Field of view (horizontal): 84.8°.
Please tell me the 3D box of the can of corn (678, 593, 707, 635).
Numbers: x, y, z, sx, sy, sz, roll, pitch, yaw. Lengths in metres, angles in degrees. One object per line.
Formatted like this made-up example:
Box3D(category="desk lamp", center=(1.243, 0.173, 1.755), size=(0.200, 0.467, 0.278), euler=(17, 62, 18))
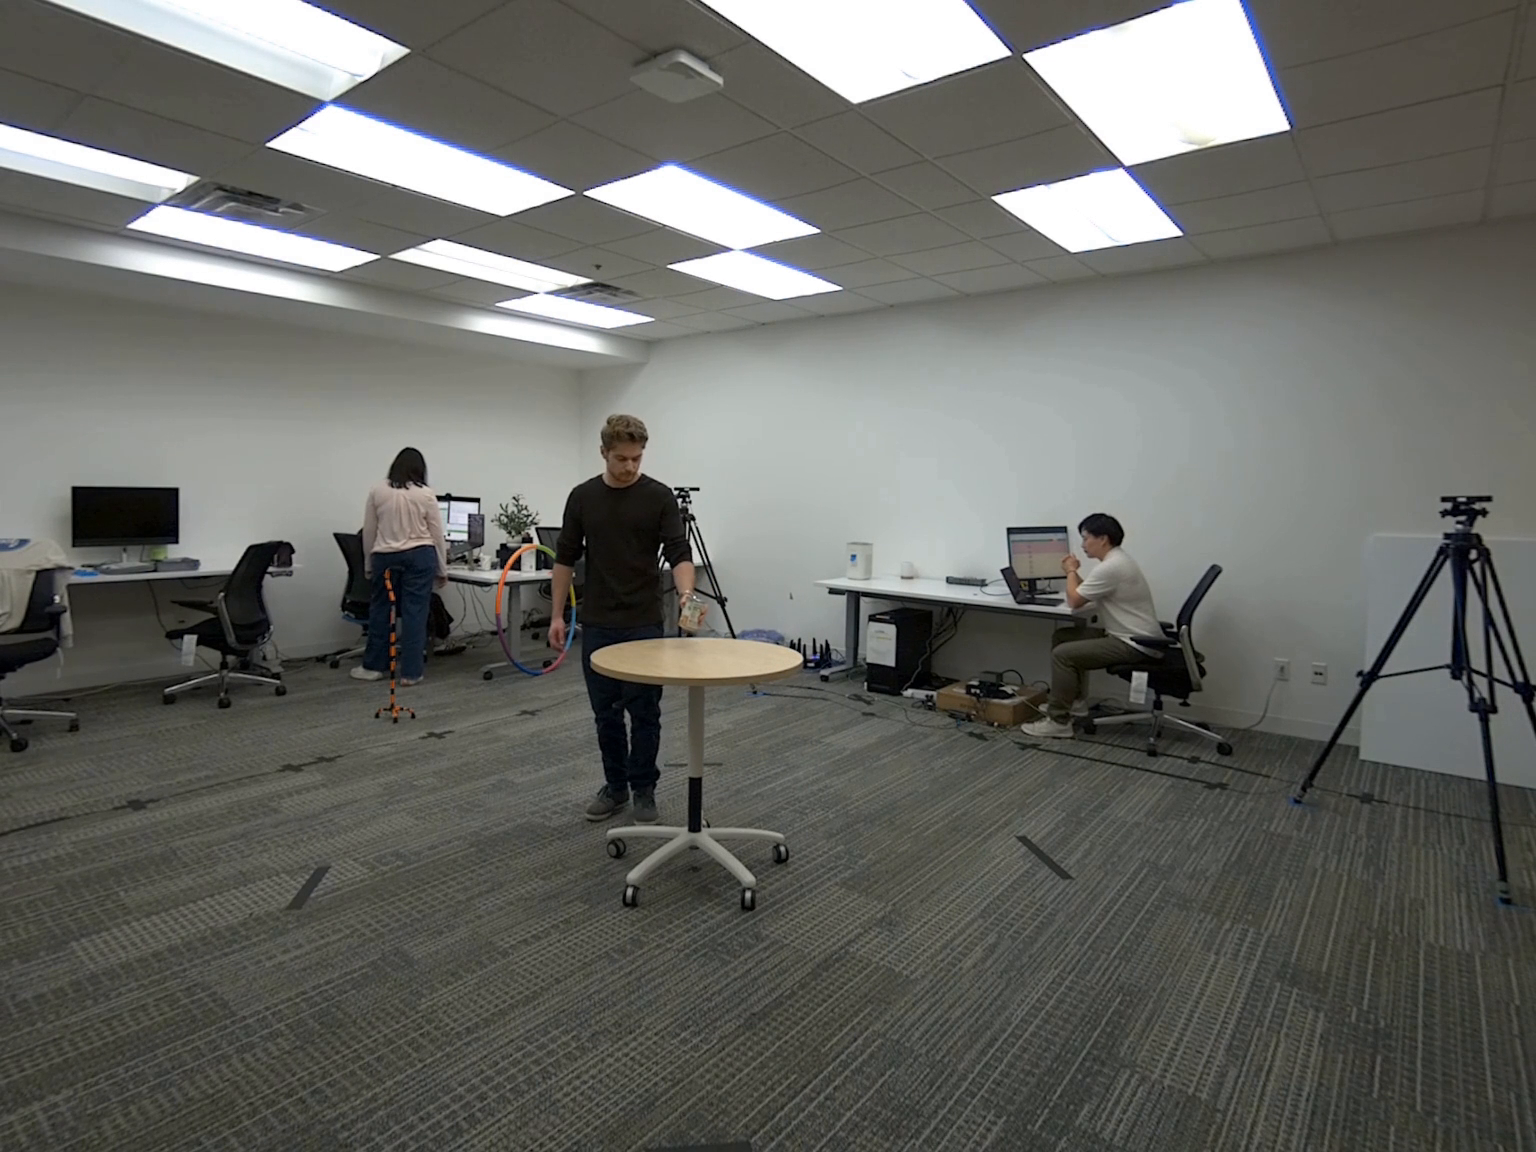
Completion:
Box3D(category="can of corn", center=(-0.297, 0.135, 3.212), size=(0.074, 0.111, 0.074), euler=(12, 0, -2))
